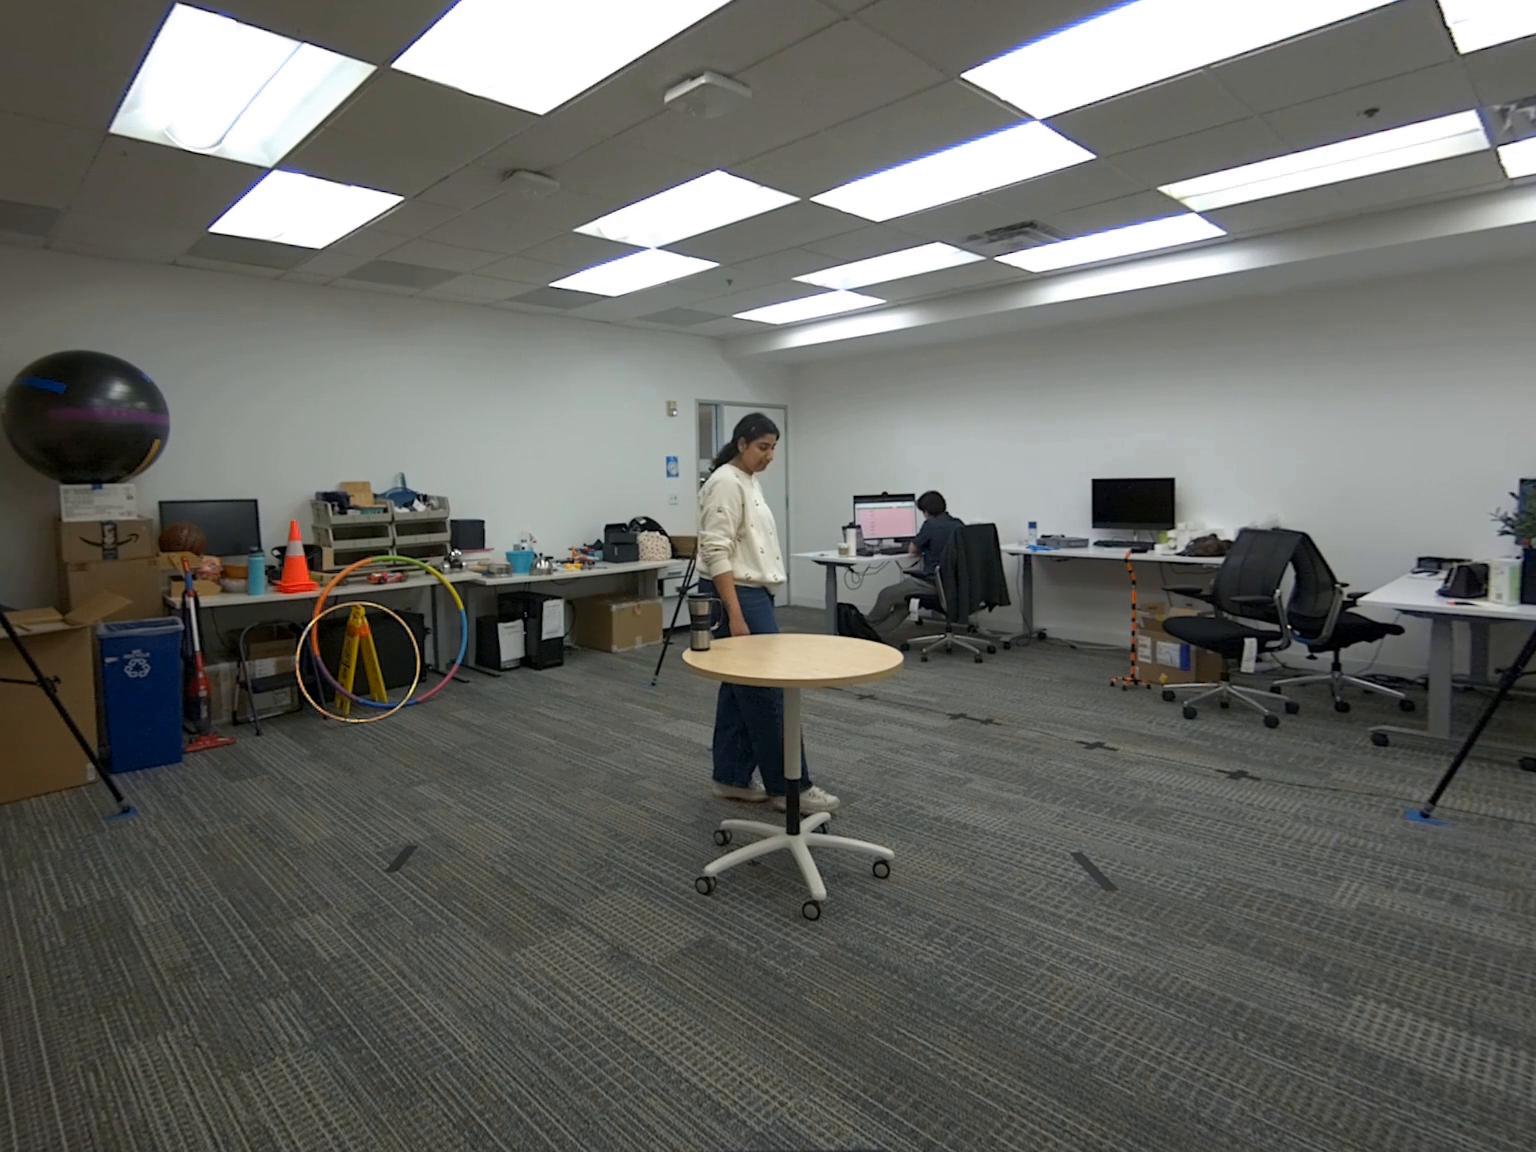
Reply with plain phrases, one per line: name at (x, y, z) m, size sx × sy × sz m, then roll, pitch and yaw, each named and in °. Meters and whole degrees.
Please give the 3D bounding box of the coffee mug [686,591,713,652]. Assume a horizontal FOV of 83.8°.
coffee mug at (-0.224, 0.170, 3.054) m, size 0.125 × 0.203 × 0.085 m, roll -1°, pitch -2°, yaw 33°
